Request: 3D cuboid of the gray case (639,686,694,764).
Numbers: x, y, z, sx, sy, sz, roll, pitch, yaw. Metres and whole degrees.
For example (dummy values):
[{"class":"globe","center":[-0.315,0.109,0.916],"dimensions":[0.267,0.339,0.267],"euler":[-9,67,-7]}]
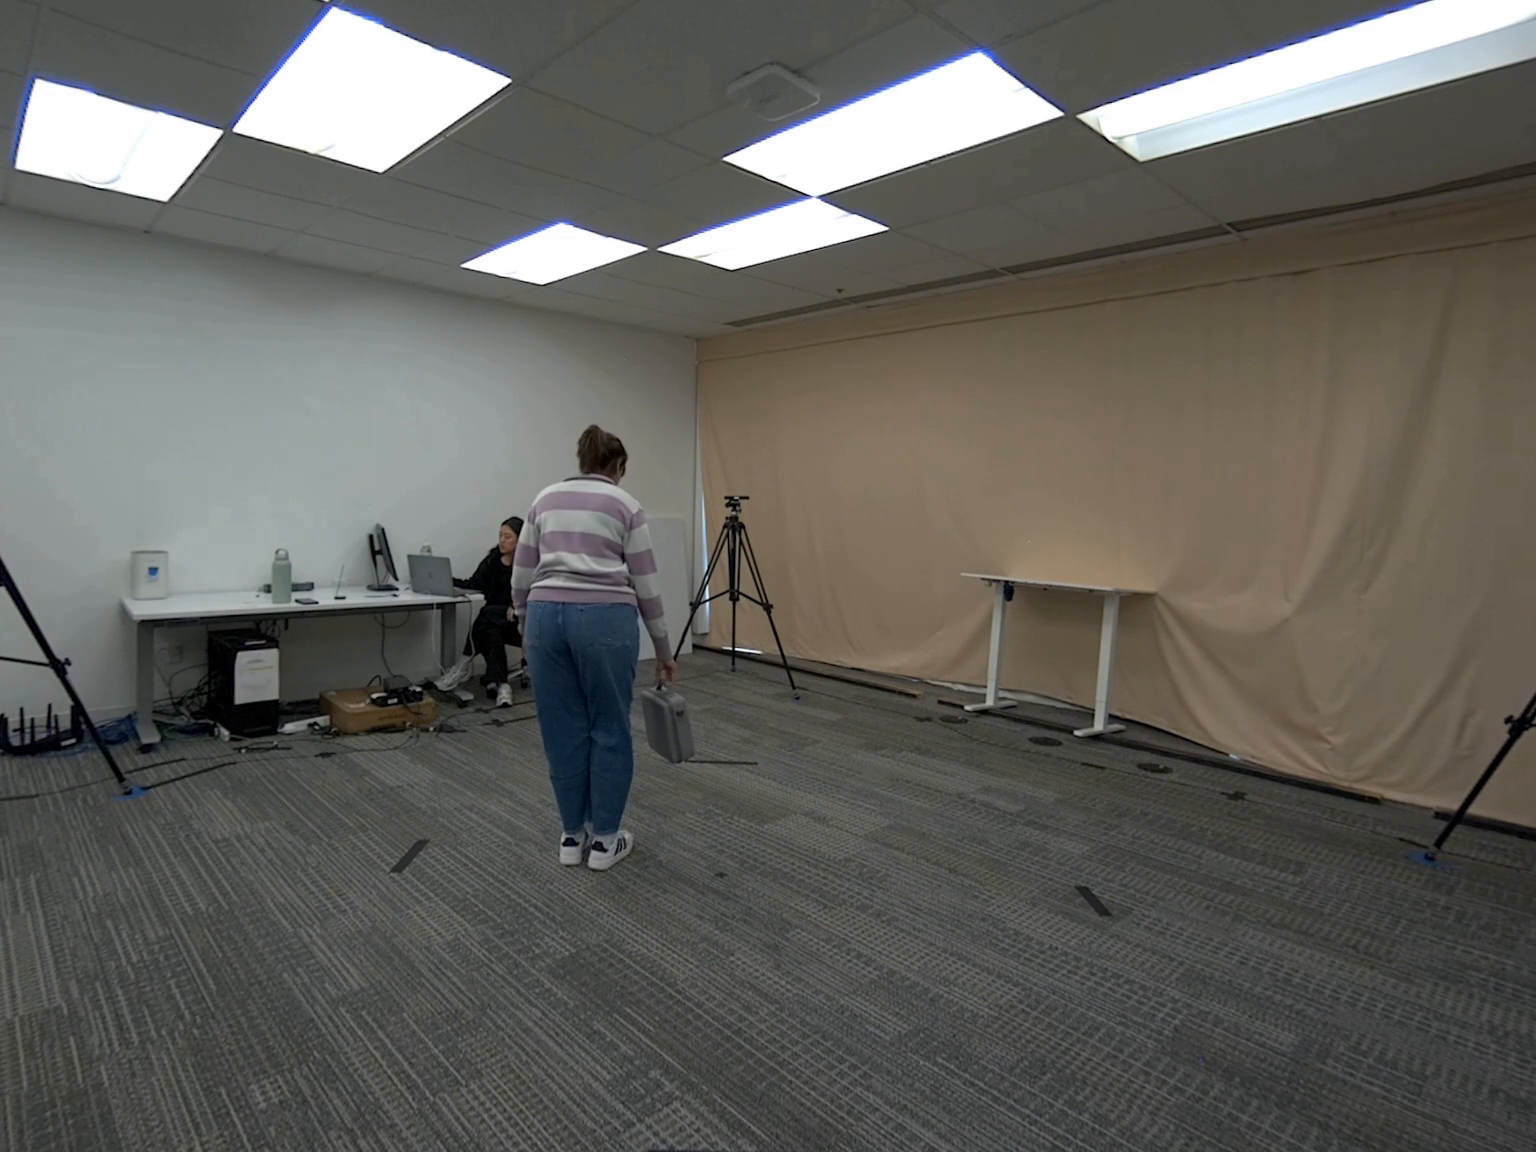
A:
[{"class":"gray case","center":[-0.409,0.577,3.290],"dimensions":[0.103,0.259,0.262],"euler":[-11,10,-25]}]
